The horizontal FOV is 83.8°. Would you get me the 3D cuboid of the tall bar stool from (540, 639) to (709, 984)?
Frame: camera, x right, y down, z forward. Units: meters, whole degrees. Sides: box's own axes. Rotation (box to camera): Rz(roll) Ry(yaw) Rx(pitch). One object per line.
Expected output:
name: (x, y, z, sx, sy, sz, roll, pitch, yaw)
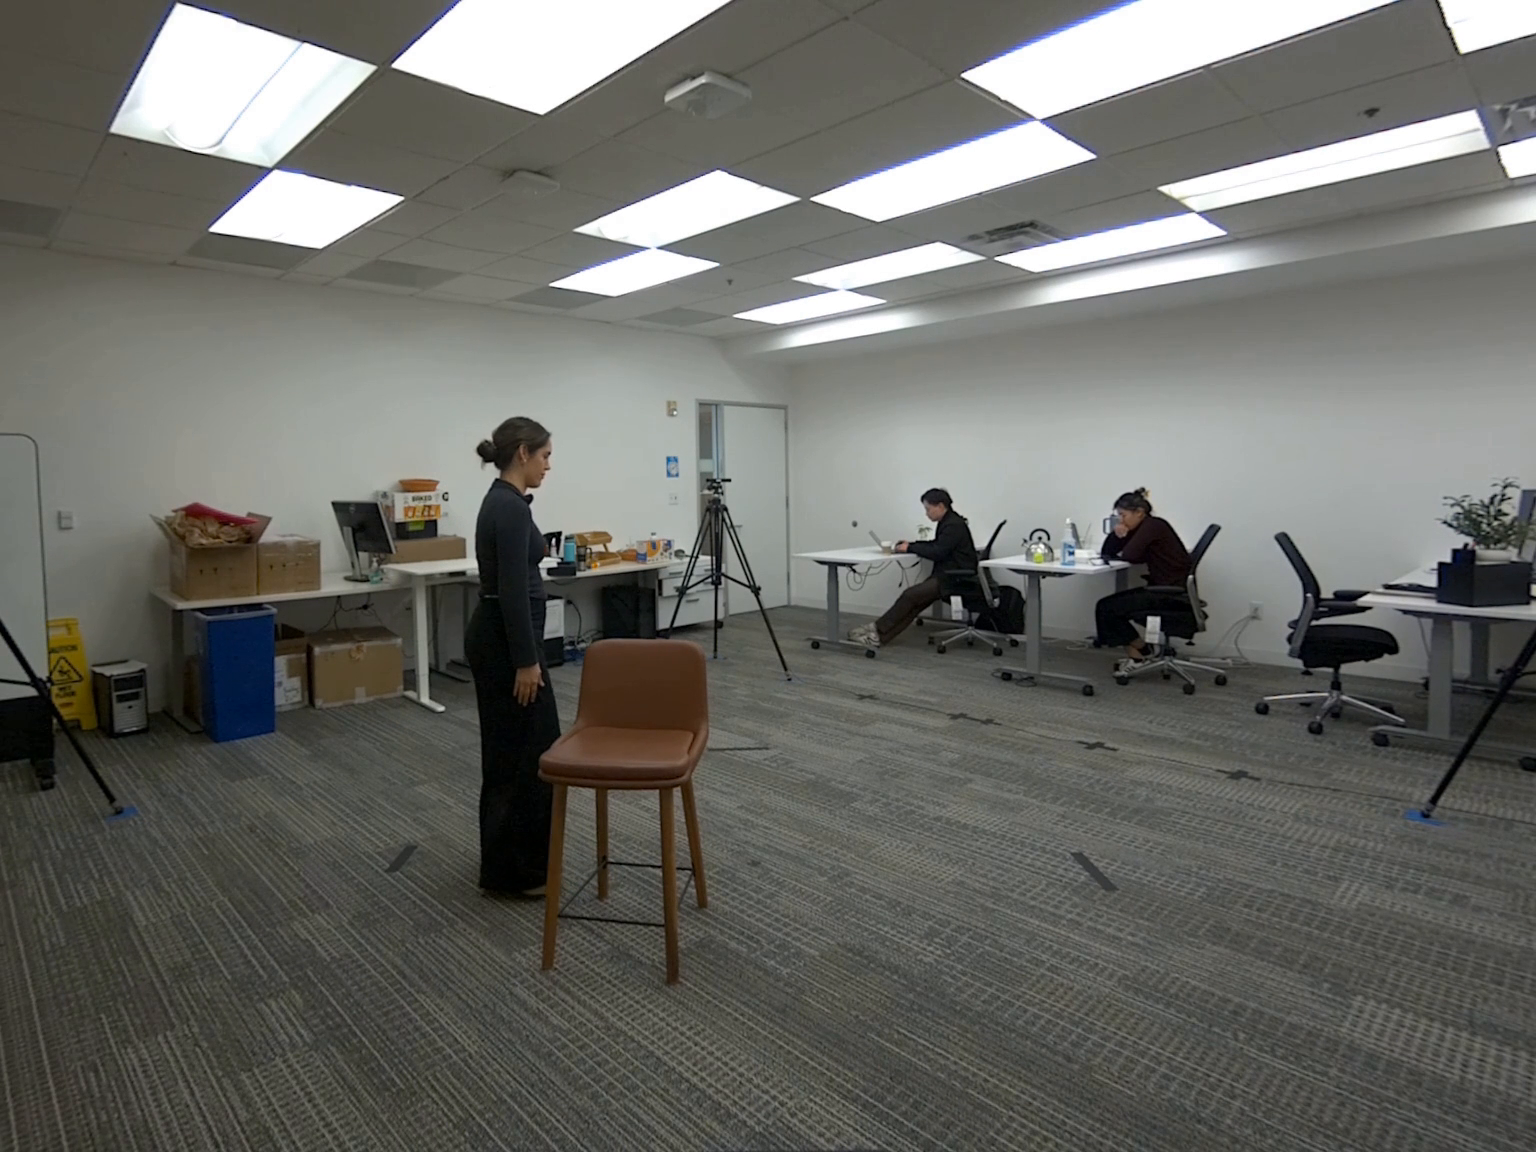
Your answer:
tall bar stool: (-0.421, 0.678, 2.606, 0.462, 0.887, 0.463, 0, 3, 12)
